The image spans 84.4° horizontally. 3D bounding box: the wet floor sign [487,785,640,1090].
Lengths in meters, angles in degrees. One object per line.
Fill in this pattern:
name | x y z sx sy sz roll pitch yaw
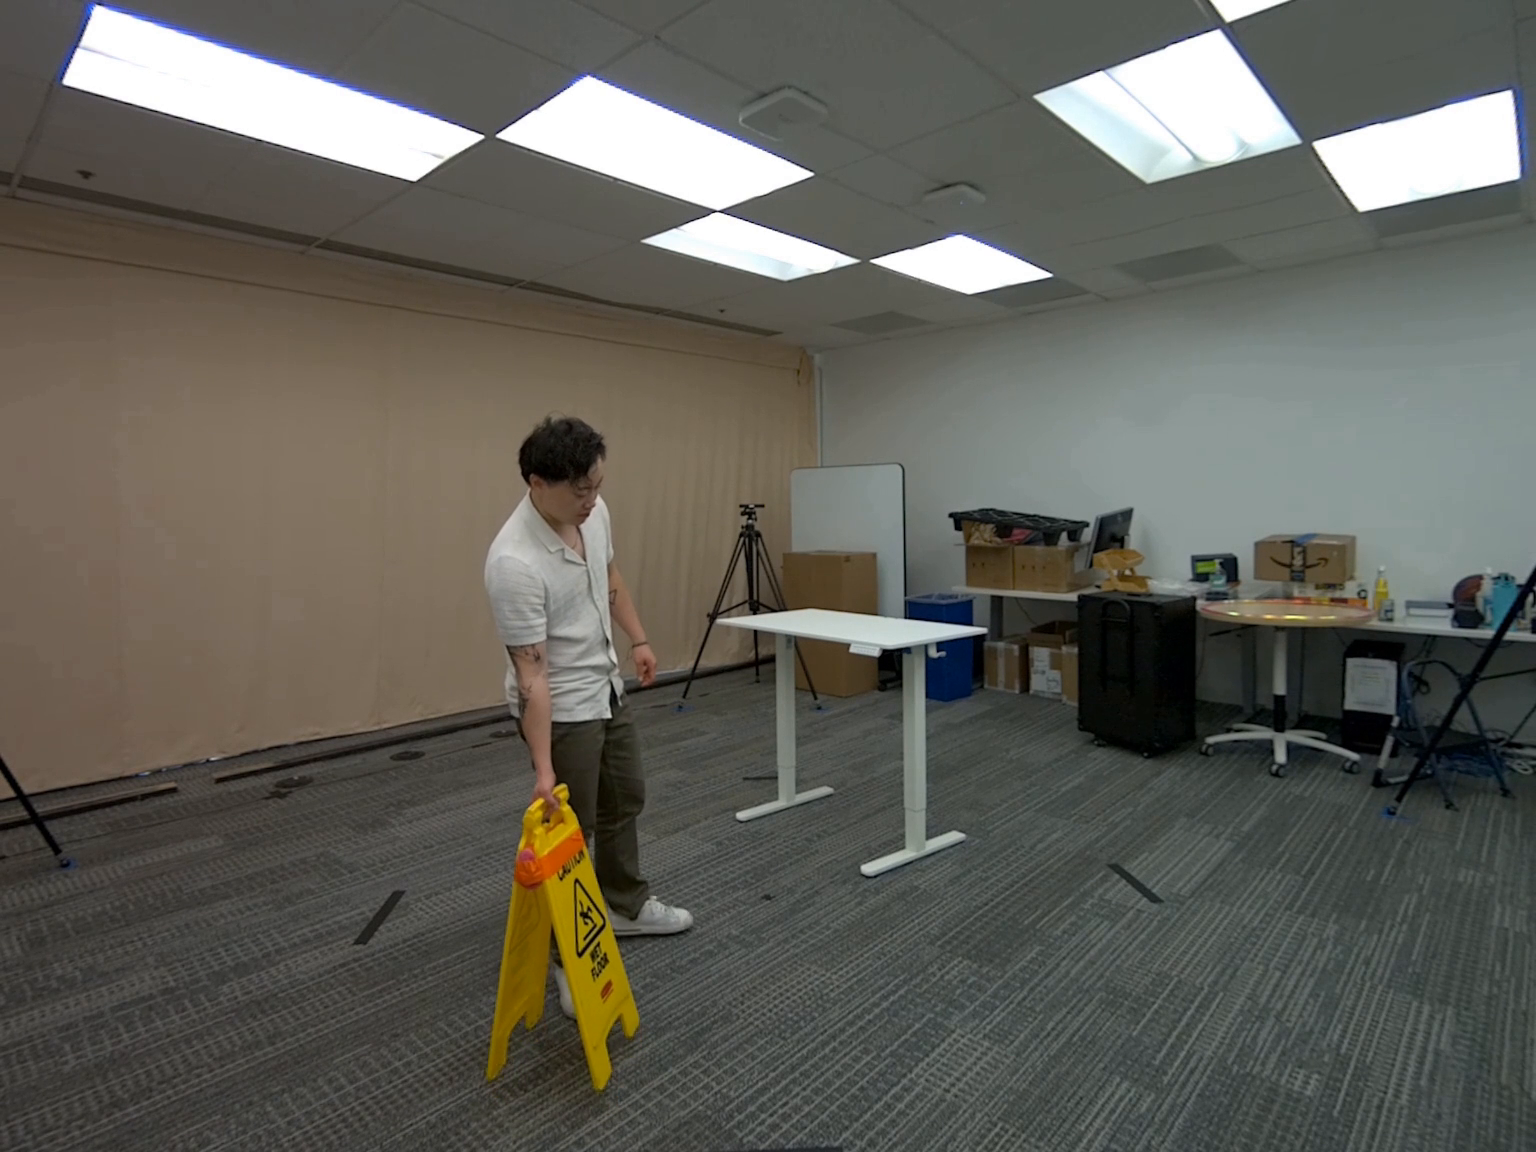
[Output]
wet floor sign | -0.527 0.861 2.089 0.294 0.646 0.278 -3 1 12
